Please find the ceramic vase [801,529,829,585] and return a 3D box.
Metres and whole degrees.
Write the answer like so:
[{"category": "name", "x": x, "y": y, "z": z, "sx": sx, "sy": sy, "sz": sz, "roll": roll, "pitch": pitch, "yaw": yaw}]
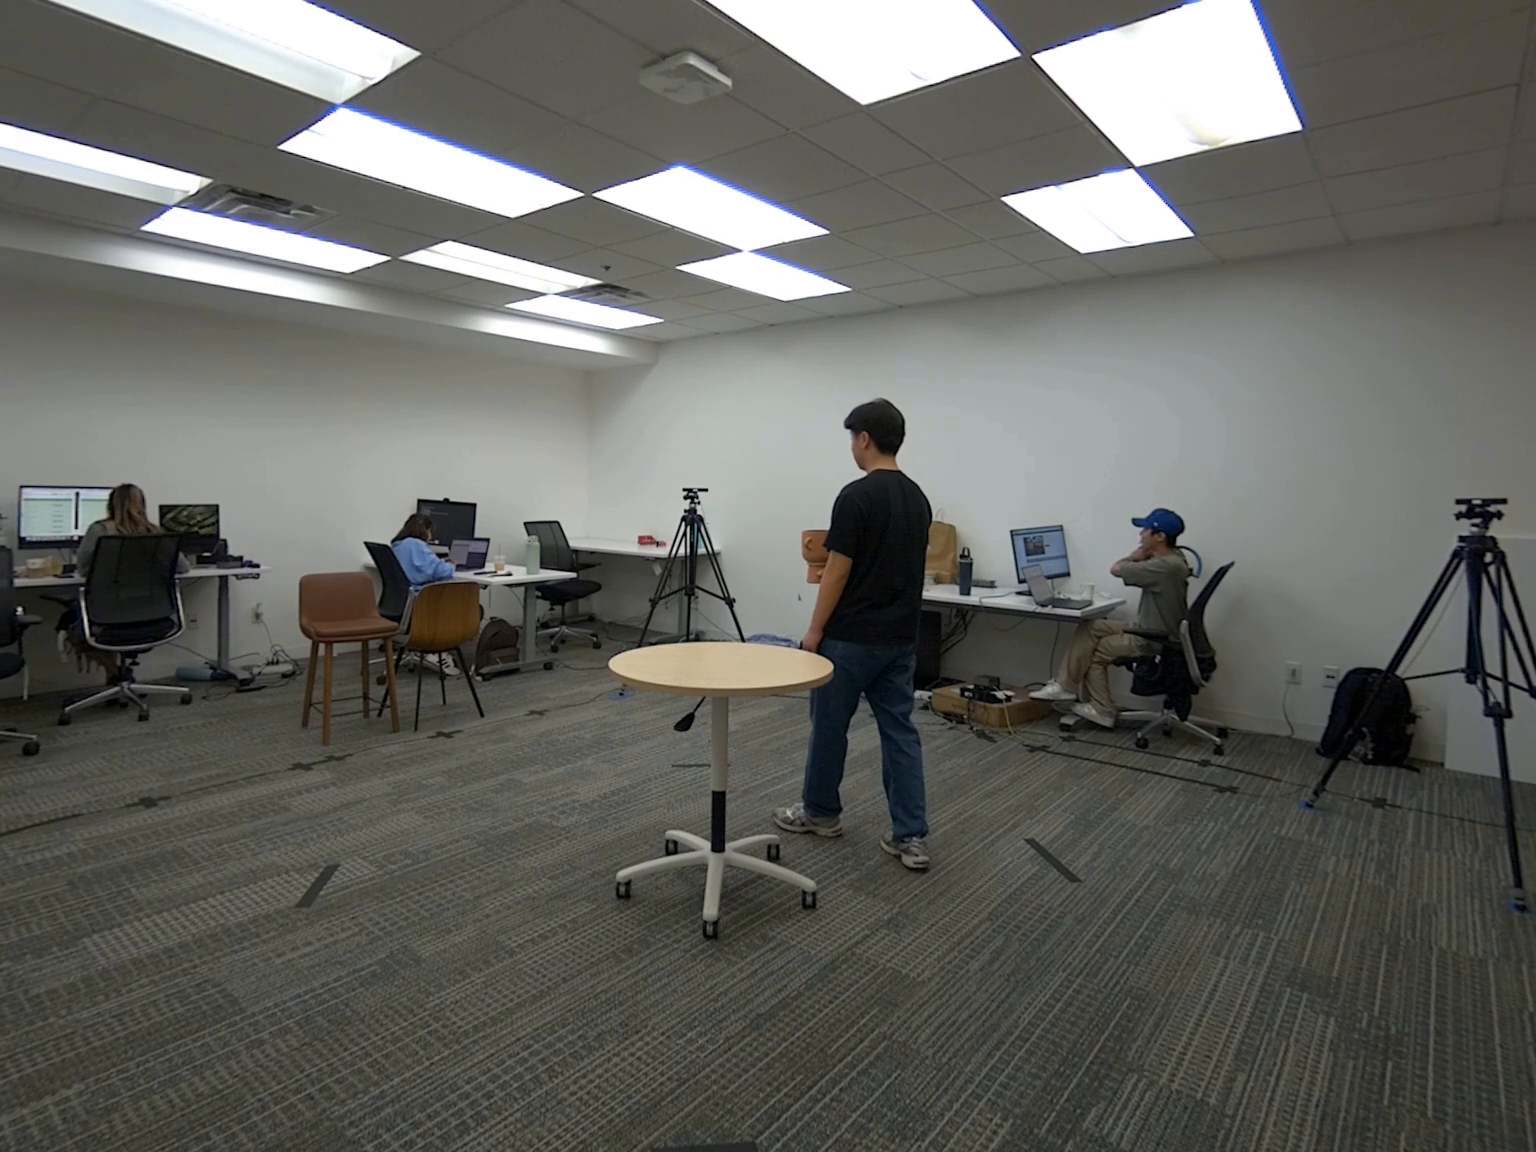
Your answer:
[{"category": "ceramic vase", "x": 0.204, "y": -0.090, "z": 3.616, "sx": 0.156, "sy": 0.219, "sz": 0.137, "roll": -2, "pitch": 5, "yaw": -16}]
